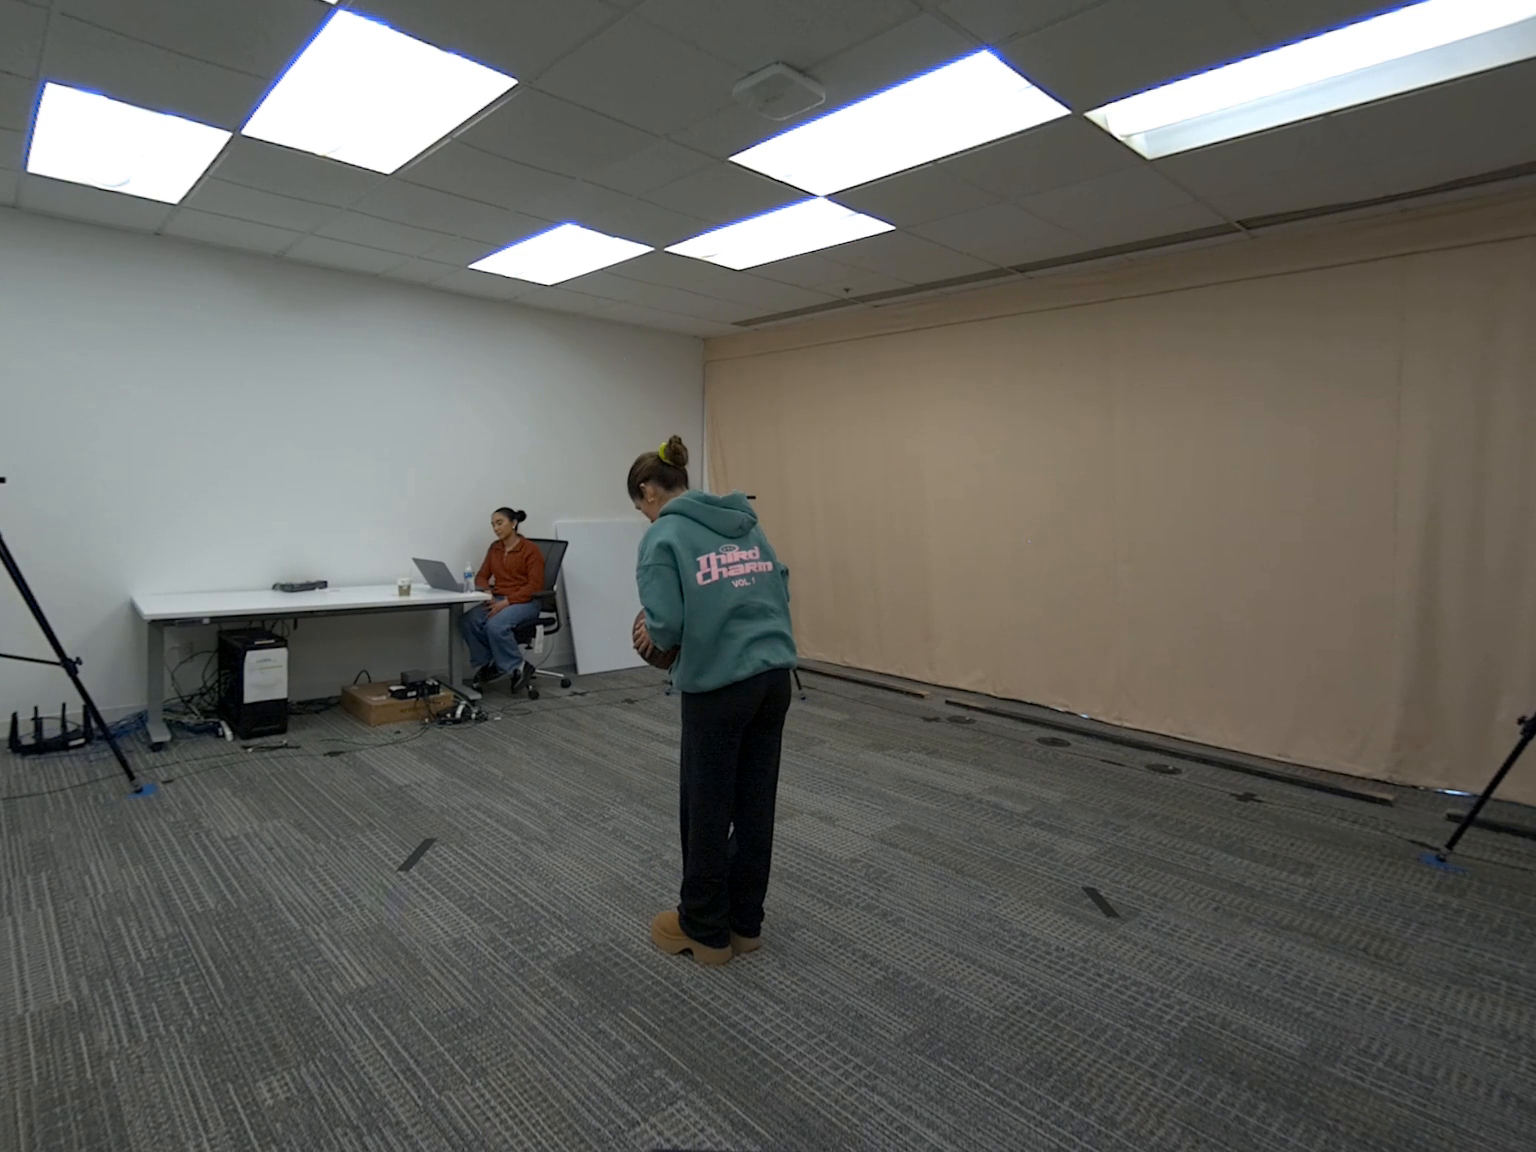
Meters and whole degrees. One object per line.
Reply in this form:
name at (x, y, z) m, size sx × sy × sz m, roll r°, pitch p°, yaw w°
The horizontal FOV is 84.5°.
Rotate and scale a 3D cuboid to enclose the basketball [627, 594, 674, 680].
basketball at (-0.321, 0.191, 2.736) m, size 0.236 × 0.235 × 0.237 m, roll 1°, pitch 4°, yaw -1°
